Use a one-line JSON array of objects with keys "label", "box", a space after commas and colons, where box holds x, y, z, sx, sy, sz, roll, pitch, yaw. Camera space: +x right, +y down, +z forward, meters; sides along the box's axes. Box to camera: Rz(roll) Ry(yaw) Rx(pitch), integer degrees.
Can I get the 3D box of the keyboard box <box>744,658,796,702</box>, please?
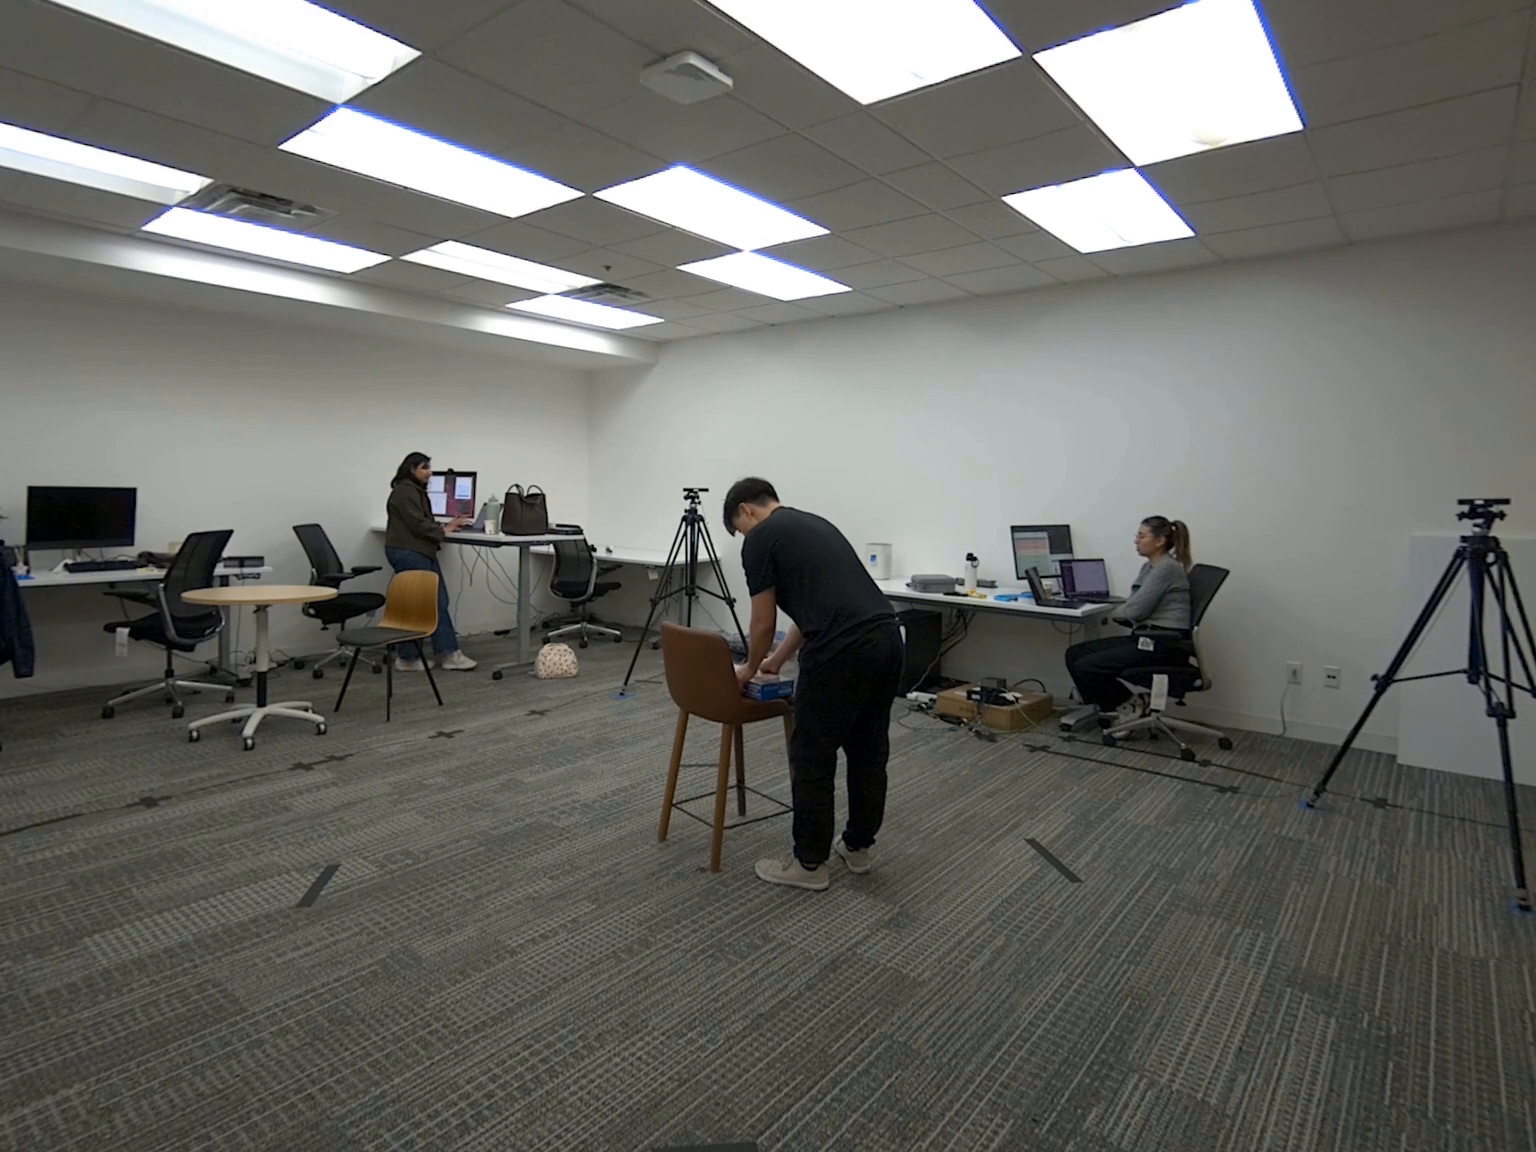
[{"label": "keyboard box", "box": [-0.107, 0.408, 3.351, 0.171, 0.059, 0.451, -3, 6, -39]}]
